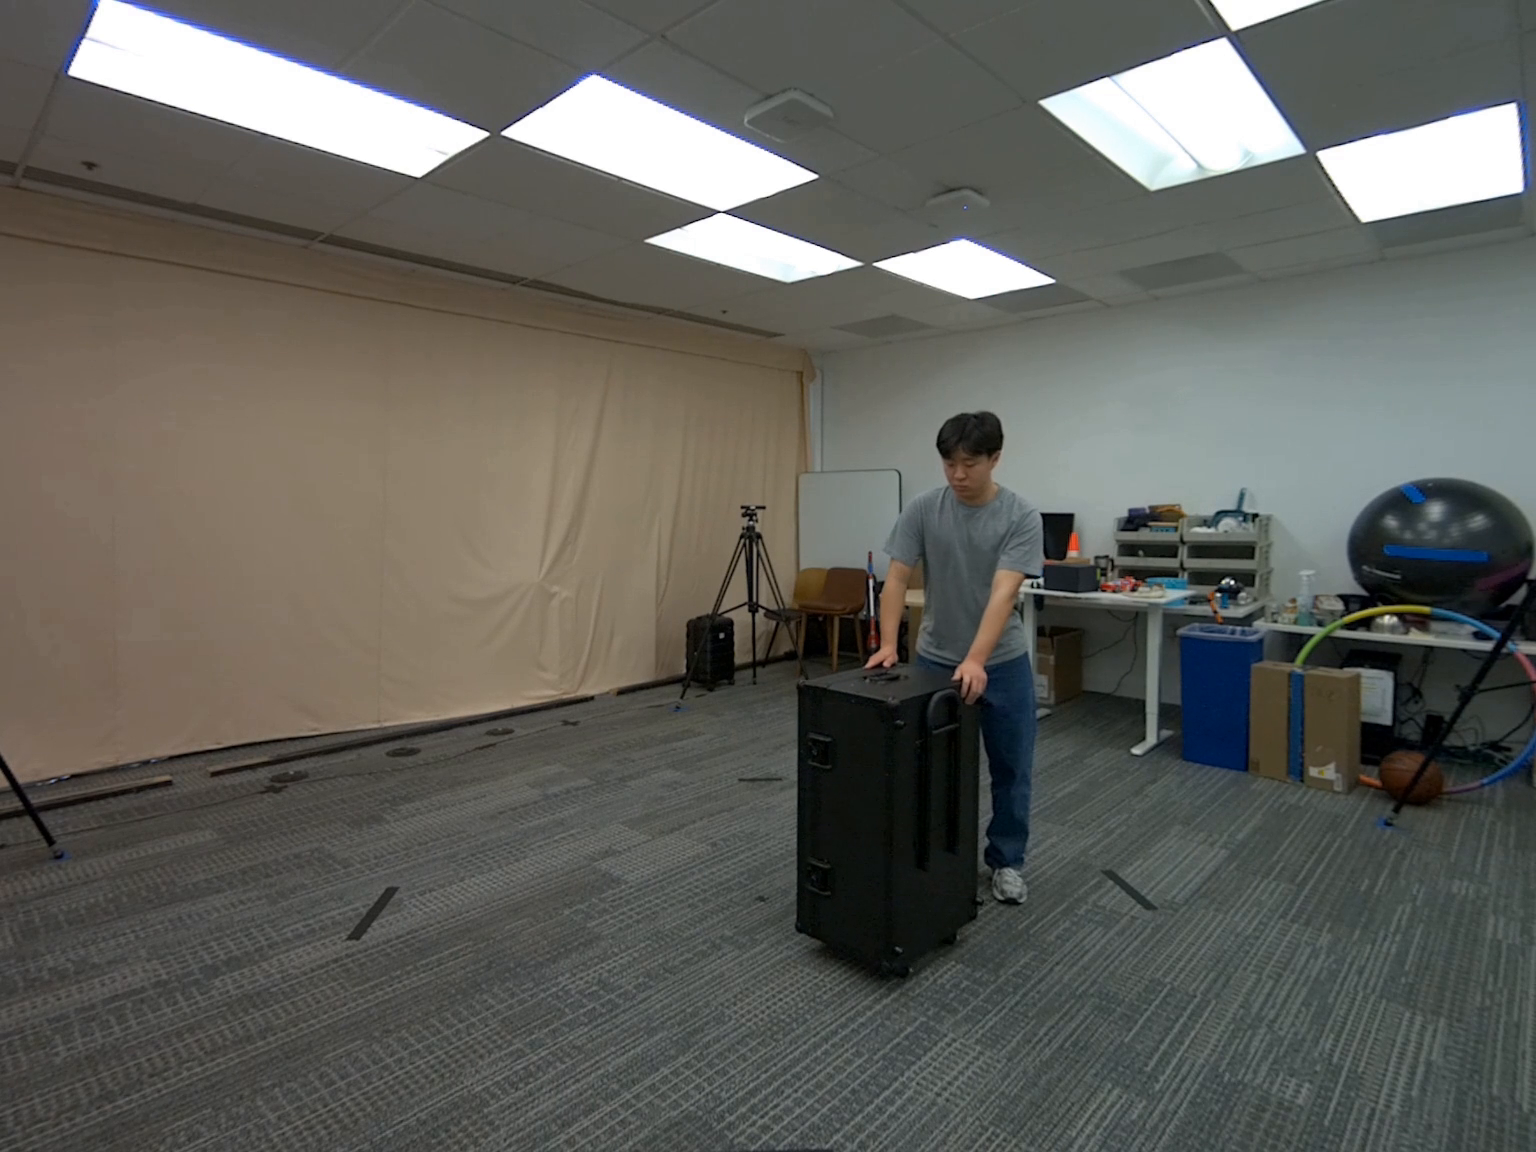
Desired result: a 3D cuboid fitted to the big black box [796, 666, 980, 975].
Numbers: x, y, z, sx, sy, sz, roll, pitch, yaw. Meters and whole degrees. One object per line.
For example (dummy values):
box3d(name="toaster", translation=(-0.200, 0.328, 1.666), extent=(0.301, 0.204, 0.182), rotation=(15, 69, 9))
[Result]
box3d(name="big black box", translation=(0.394, 0.748, 2.636), extent=(0.410, 0.859, 0.505), rotation=(4, 5, 44))
